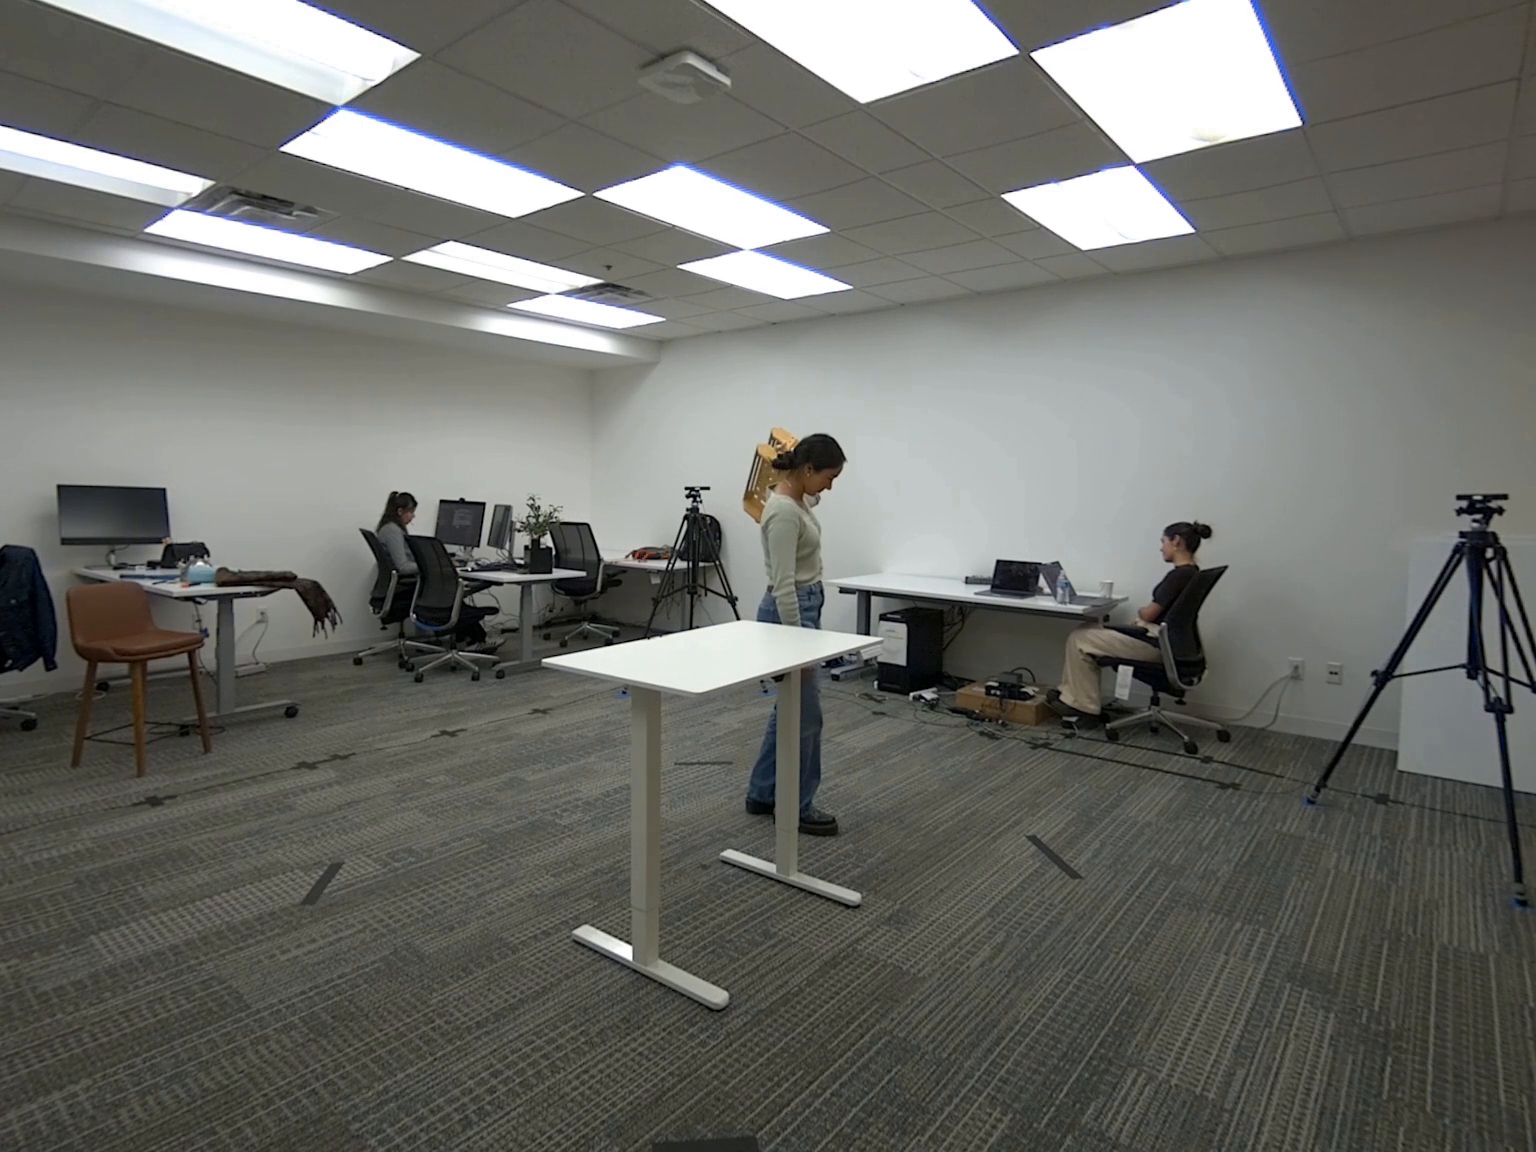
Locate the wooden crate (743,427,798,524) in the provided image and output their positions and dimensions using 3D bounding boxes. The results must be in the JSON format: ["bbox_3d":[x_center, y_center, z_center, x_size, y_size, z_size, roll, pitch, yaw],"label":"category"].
[{"bbox_3d":[-0.001,-0.450,3.798,0.268,0.318,0.314,-19,47,-39],"label":"wooden crate"}]
